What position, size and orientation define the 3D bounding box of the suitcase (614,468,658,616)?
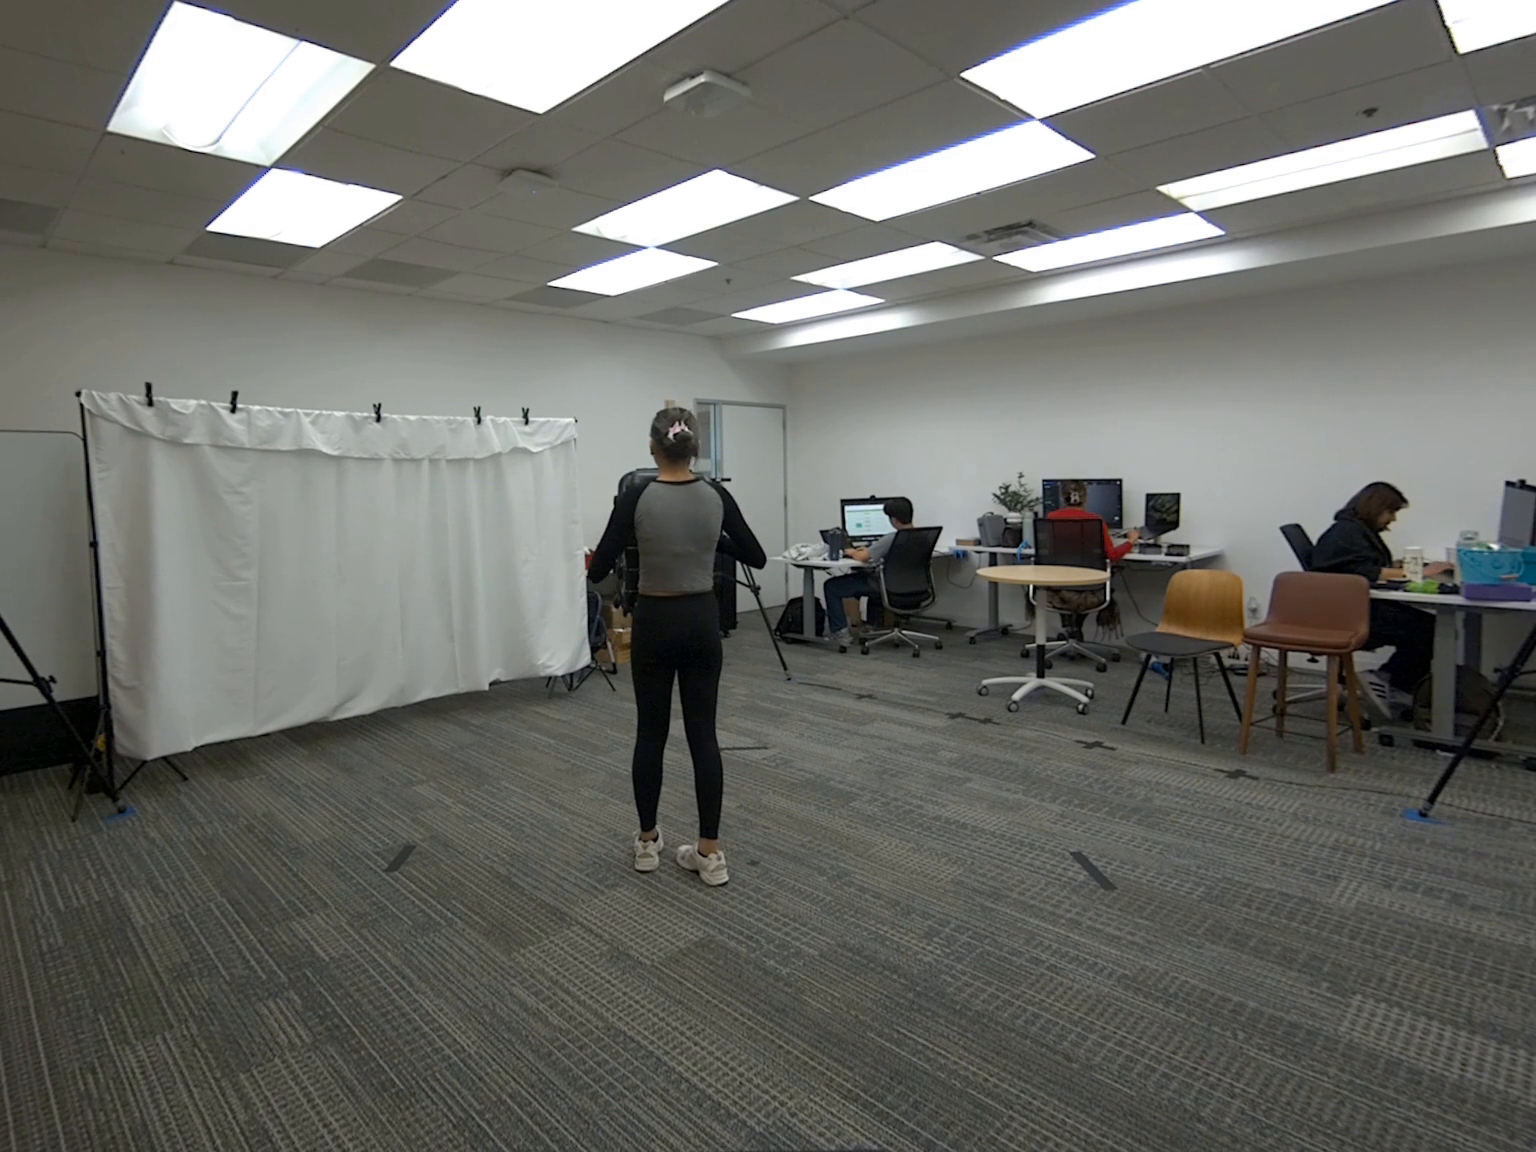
[{"bbox_3d":[-0.389,-0.138,3.261,0.371,0.546,0.253,0,7,-12],"label":"suitcase"}]
